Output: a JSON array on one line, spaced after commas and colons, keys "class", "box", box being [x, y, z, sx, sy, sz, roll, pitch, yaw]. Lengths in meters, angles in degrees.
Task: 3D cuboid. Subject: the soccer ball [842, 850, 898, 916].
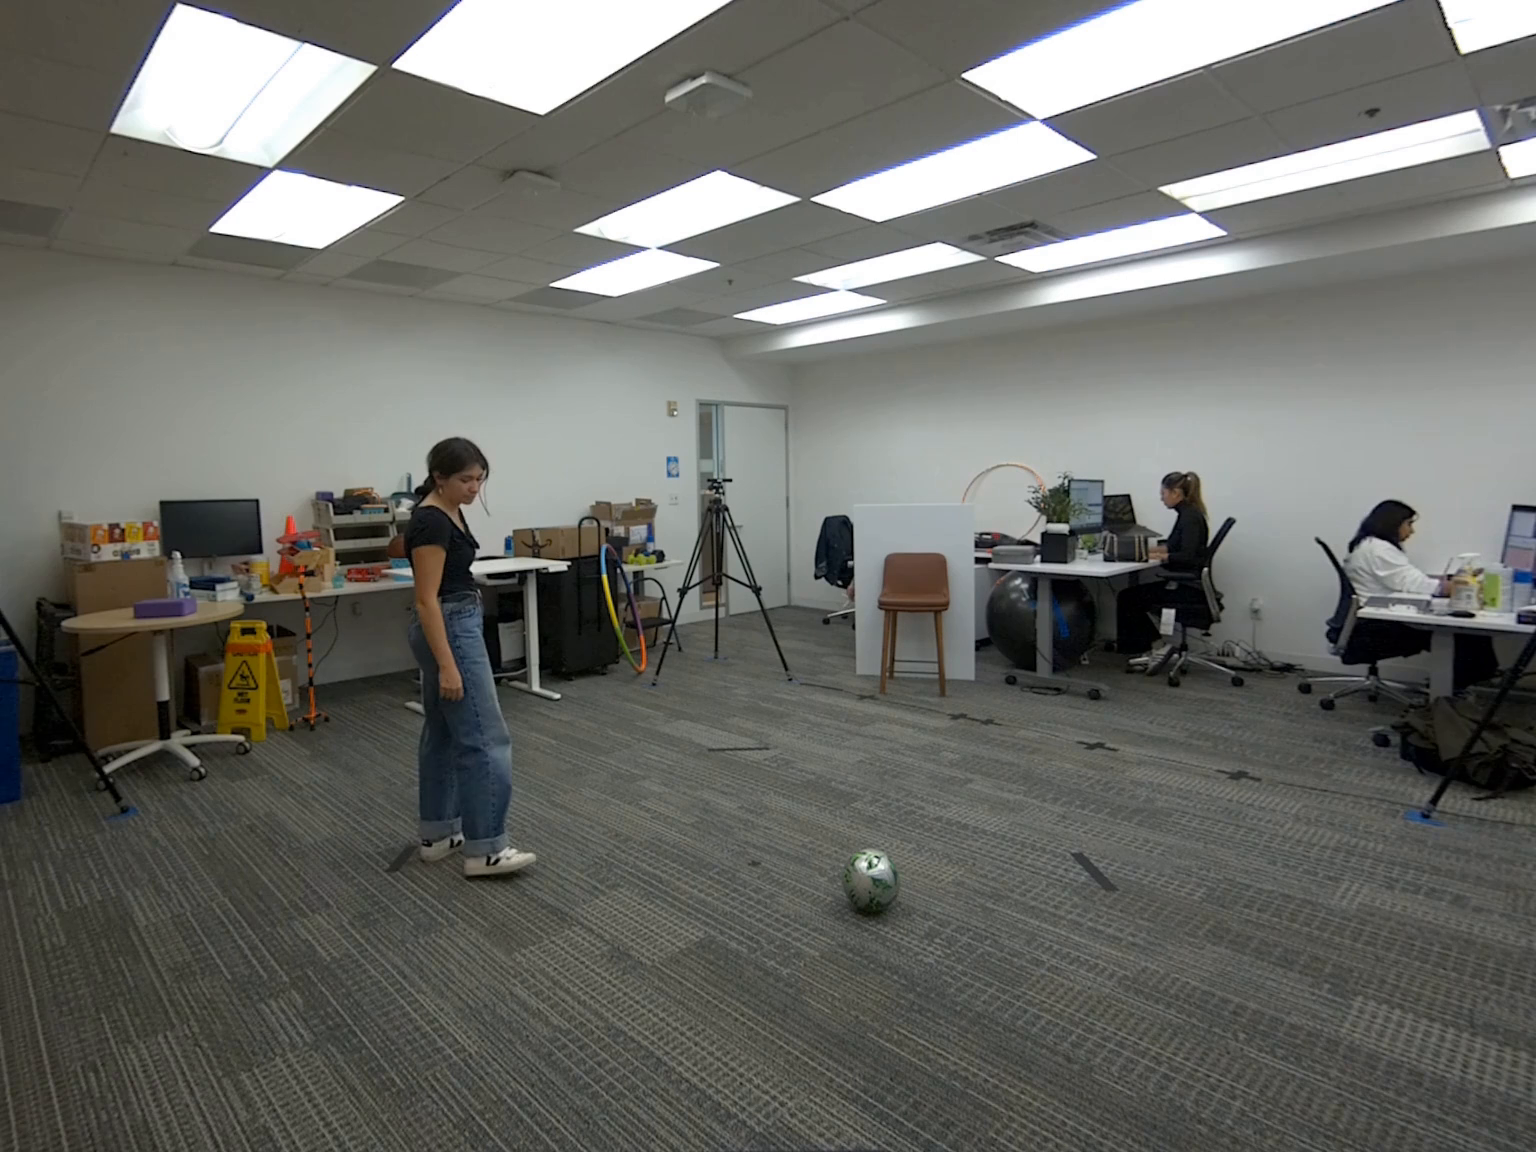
[{"class": "soccer ball", "box": [0.338, 0.979, 2.765, 0.187, 0.187, 0.188, -1, 5, -2]}]
